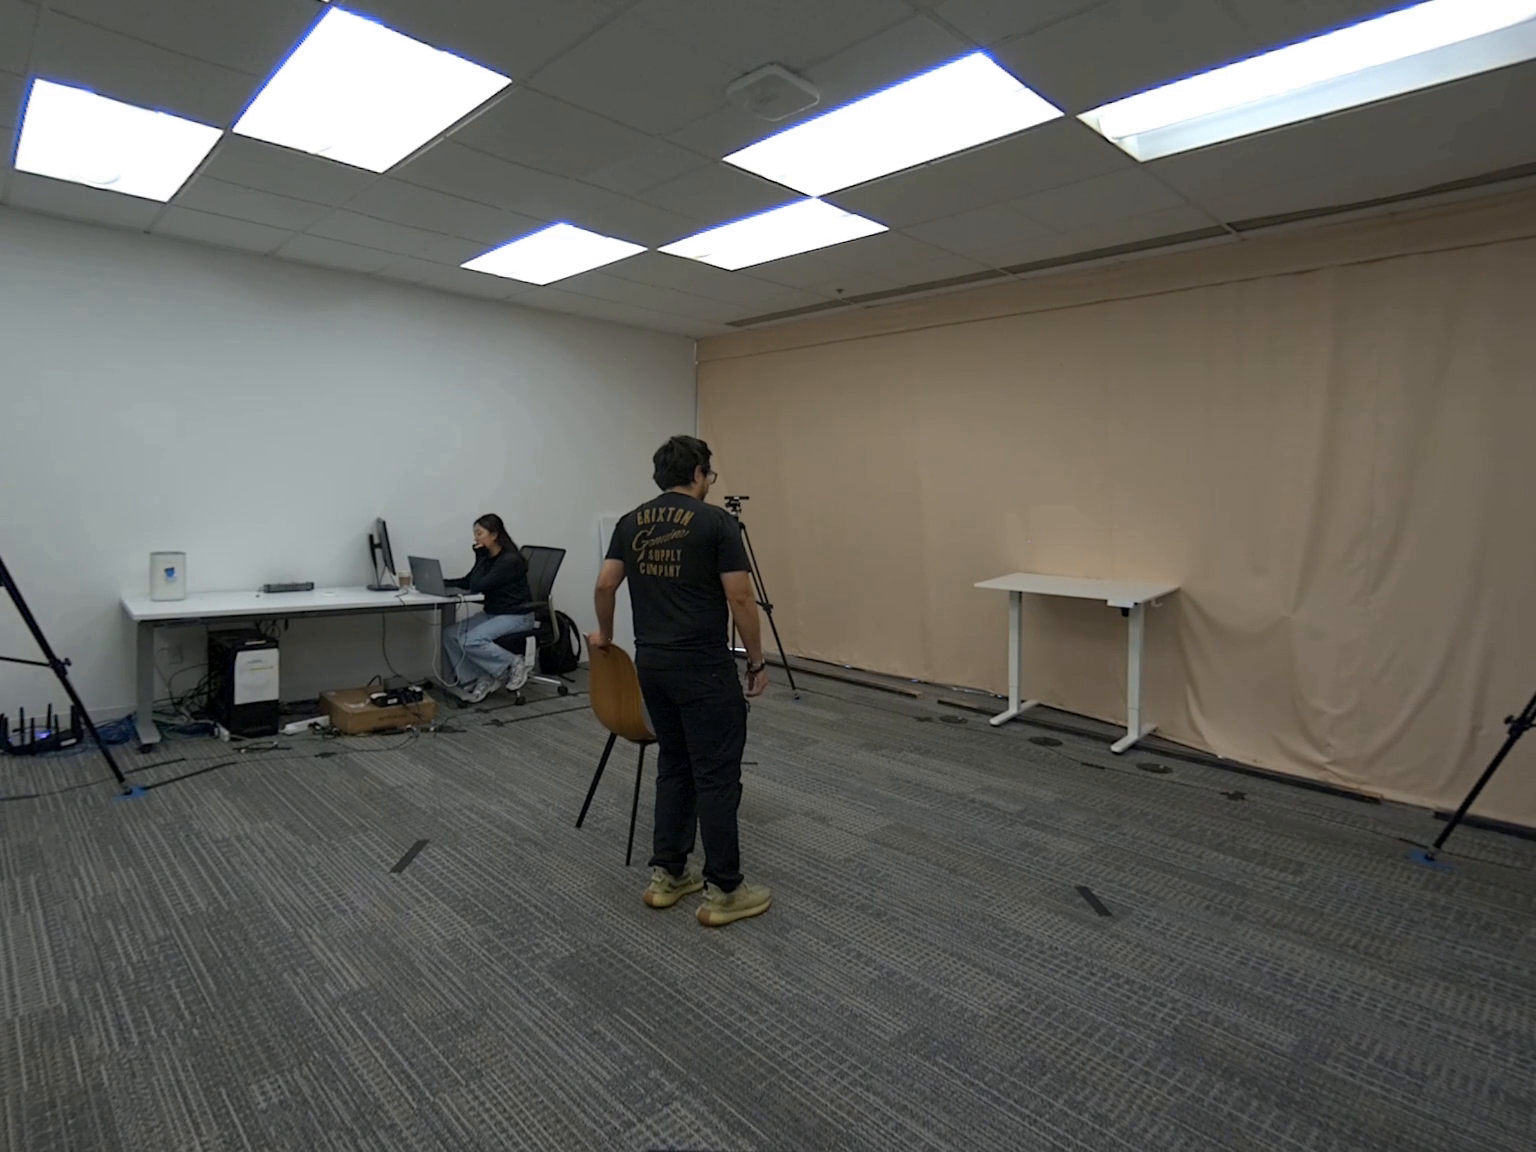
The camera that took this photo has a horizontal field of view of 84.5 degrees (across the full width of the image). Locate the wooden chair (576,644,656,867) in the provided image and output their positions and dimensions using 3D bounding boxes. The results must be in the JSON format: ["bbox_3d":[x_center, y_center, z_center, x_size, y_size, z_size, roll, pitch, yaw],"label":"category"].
[{"bbox_3d":[-0.479,0.640,3.449,0.512,0.873,0.490,-6,8,-37],"label":"wooden chair"}]
